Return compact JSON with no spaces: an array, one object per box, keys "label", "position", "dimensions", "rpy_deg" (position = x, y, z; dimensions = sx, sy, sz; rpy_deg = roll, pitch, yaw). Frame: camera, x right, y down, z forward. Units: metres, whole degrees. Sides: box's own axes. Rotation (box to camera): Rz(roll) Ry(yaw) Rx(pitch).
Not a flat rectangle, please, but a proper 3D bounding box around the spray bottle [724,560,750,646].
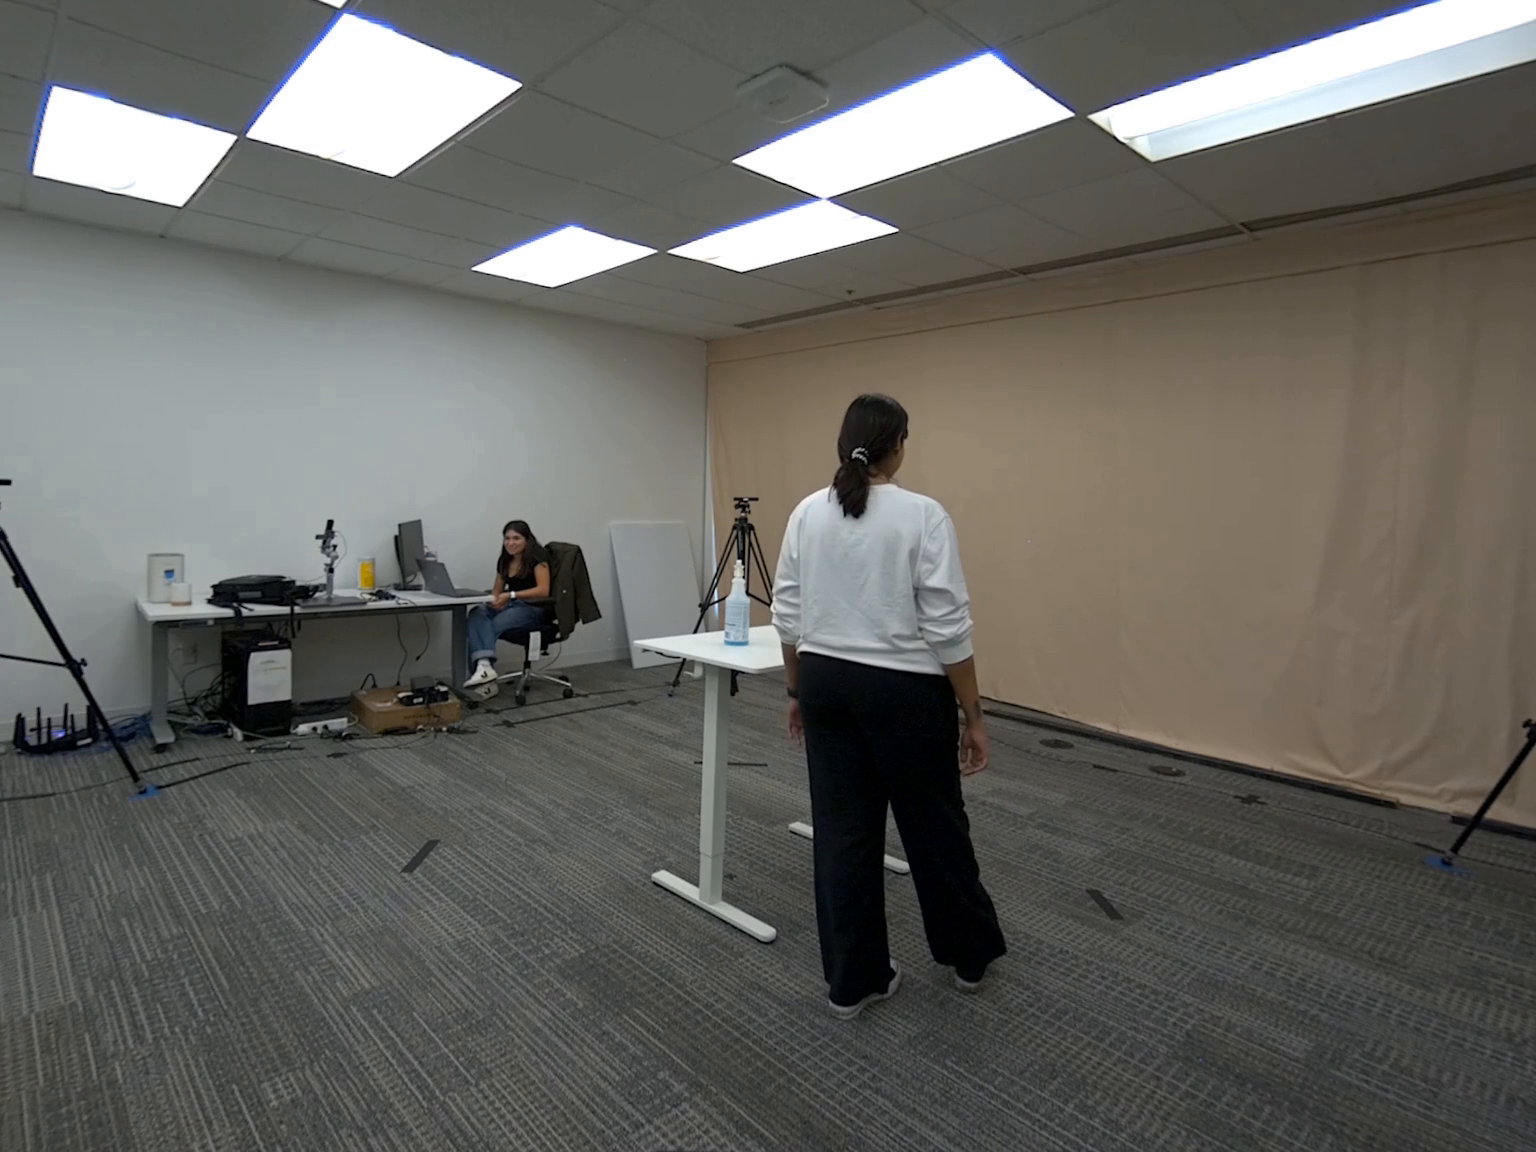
[{"label":"spray bottle","position":[-0.113,0.095,2.933],"dimensions":[0.089,0.296,0.088],"rpy_deg":[3,4,27]}]
